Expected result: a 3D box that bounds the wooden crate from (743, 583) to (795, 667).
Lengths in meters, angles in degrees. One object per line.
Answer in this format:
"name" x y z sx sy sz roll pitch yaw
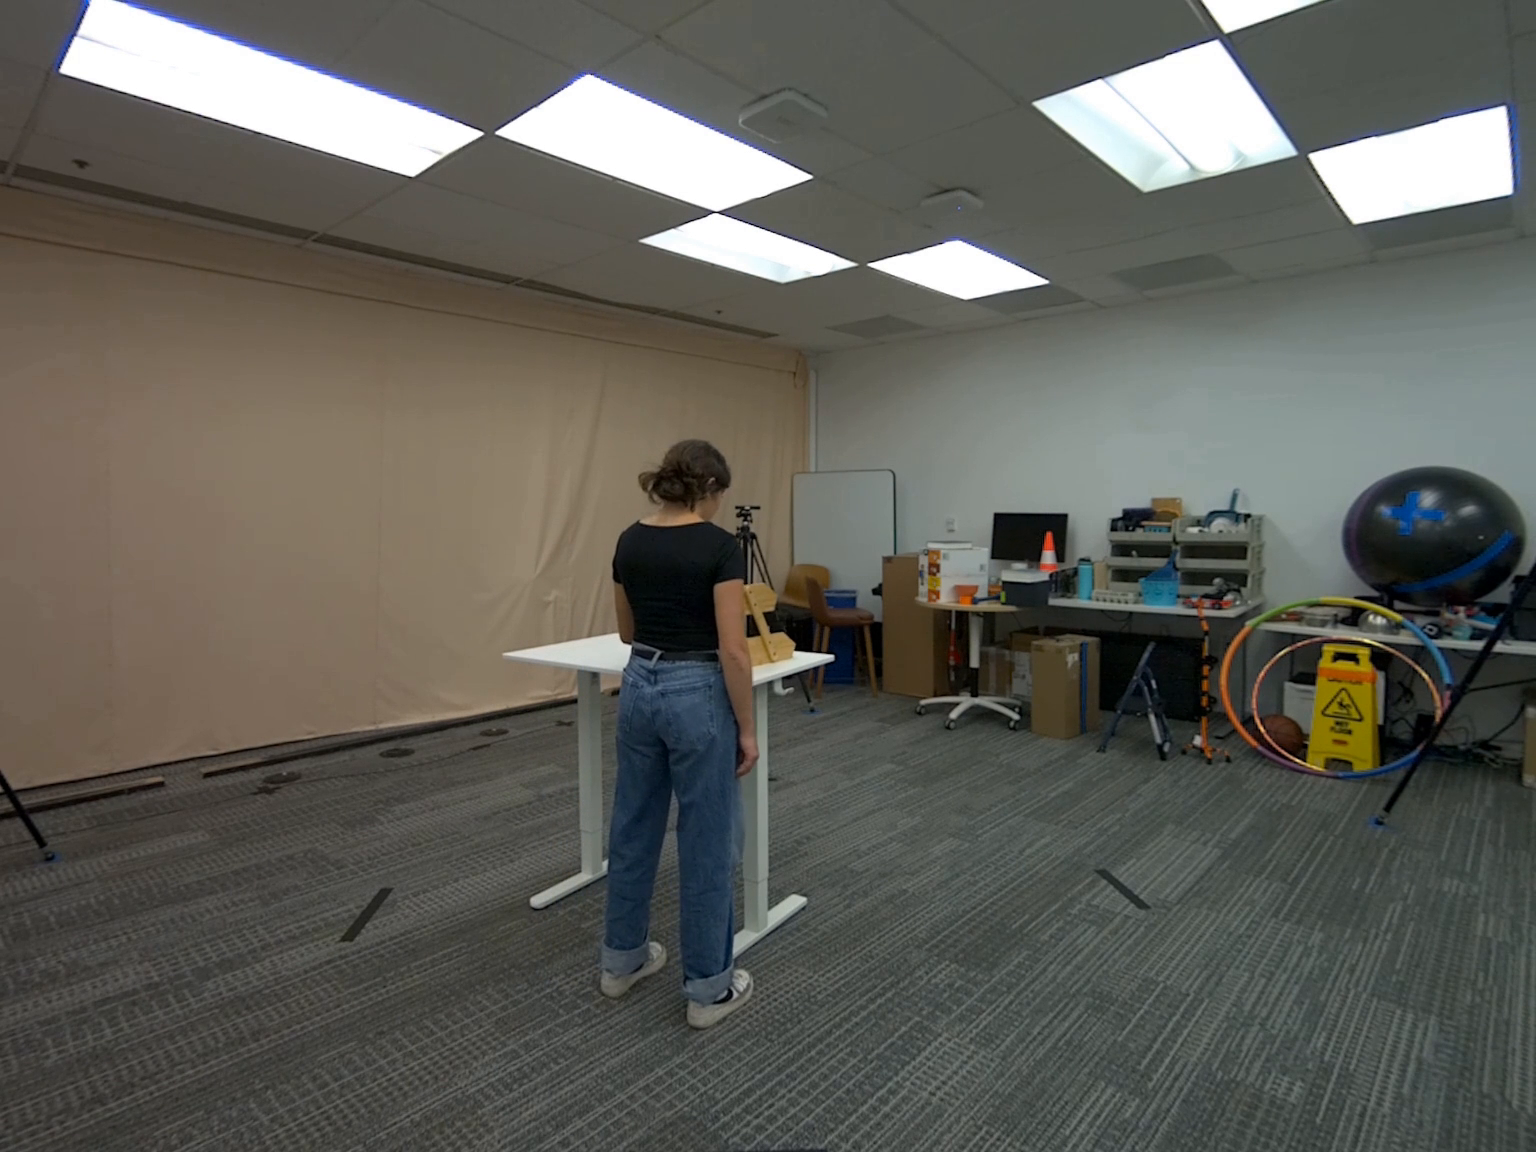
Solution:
"wooden crate" -0.122 0.142 2.802 0.335 0.272 0.293 2 5 41
